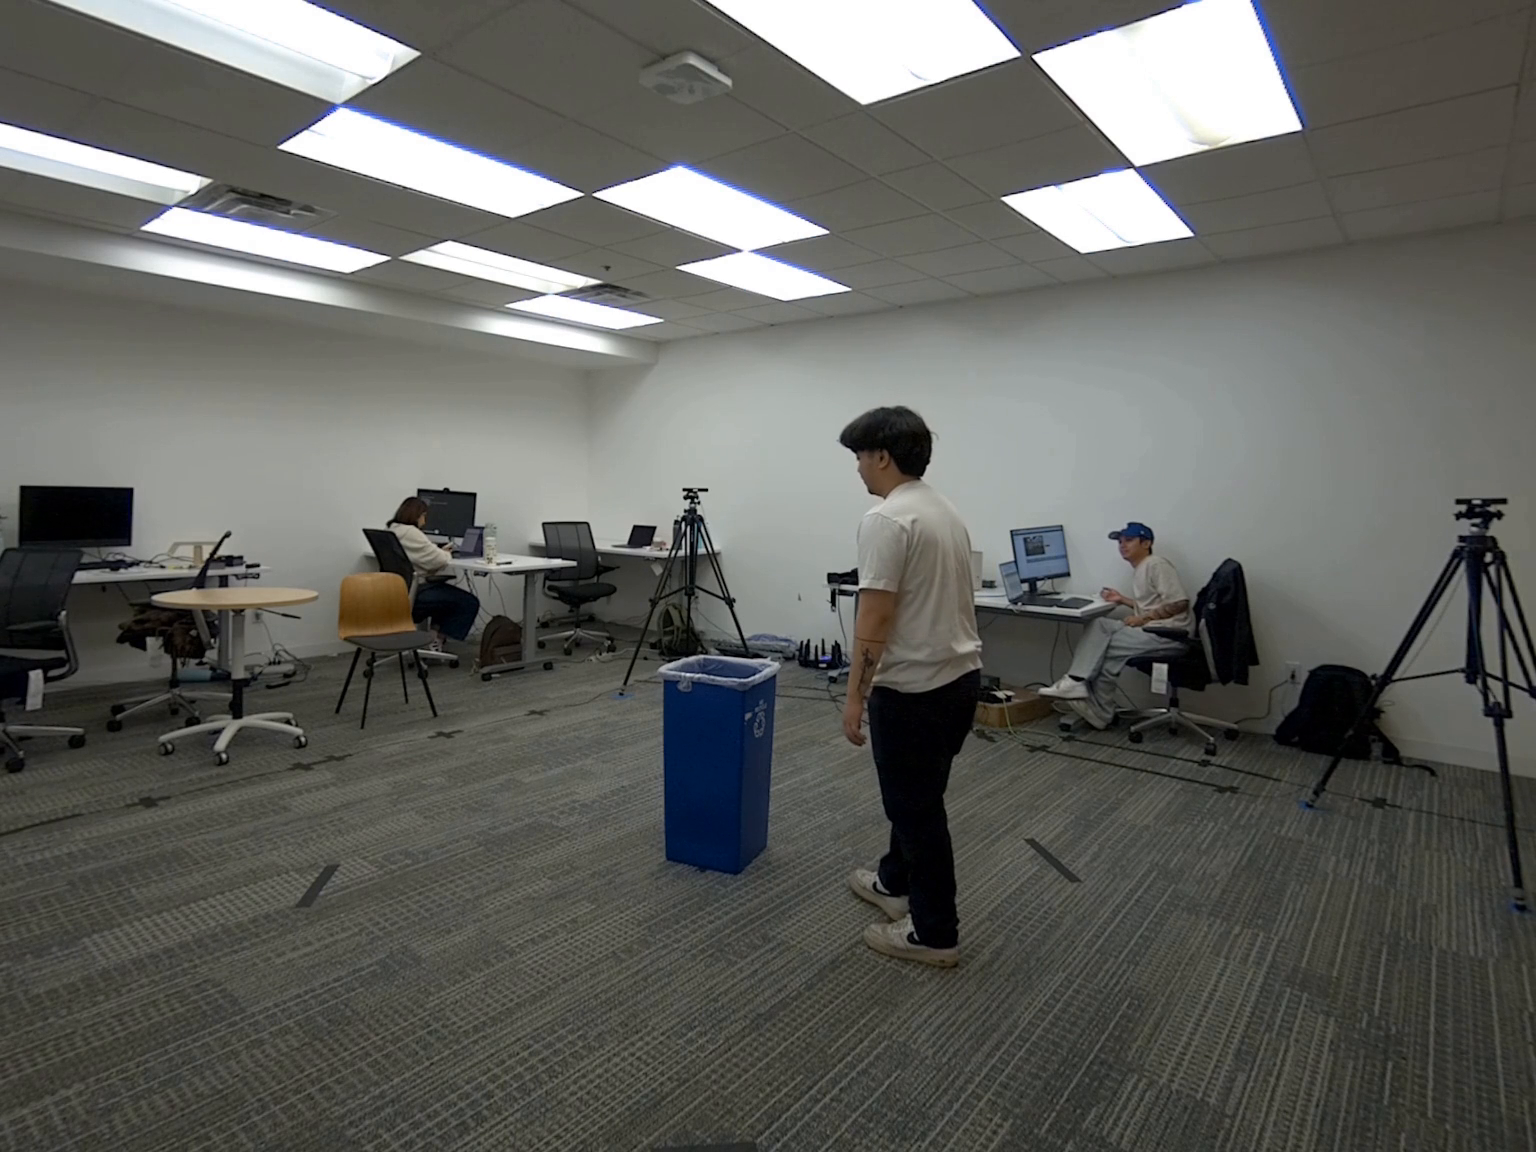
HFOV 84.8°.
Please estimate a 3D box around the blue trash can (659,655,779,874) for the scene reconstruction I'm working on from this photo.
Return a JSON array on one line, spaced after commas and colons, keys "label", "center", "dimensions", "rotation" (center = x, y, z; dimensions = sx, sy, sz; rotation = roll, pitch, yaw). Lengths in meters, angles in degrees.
[{"label": "blue trash can", "center": [-0.198, 0.697, 3.251], "dimensions": [0.387, 0.711, 0.366], "rotation": [3, 4, 23]}]
